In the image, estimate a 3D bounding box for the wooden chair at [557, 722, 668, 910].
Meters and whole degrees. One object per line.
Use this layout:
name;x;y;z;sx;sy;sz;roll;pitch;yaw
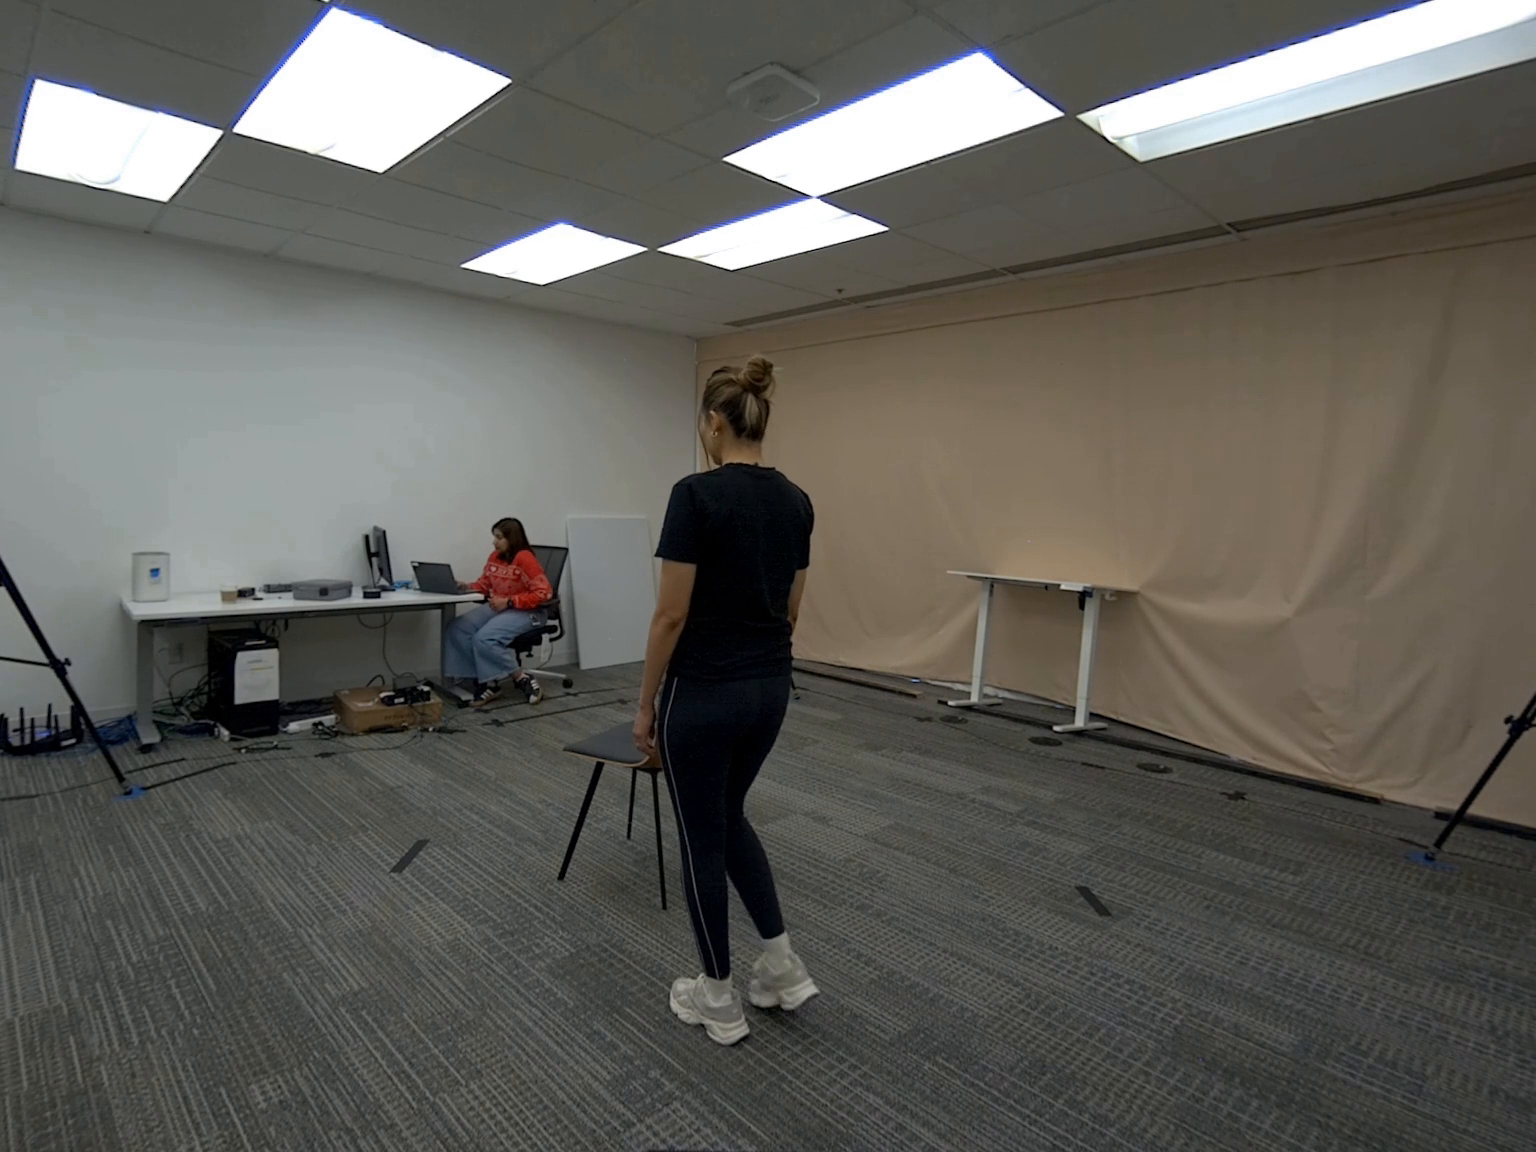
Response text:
wooden chair;-0.458;0.672;3.096;0.534;0.874;0.470;8;6;26
